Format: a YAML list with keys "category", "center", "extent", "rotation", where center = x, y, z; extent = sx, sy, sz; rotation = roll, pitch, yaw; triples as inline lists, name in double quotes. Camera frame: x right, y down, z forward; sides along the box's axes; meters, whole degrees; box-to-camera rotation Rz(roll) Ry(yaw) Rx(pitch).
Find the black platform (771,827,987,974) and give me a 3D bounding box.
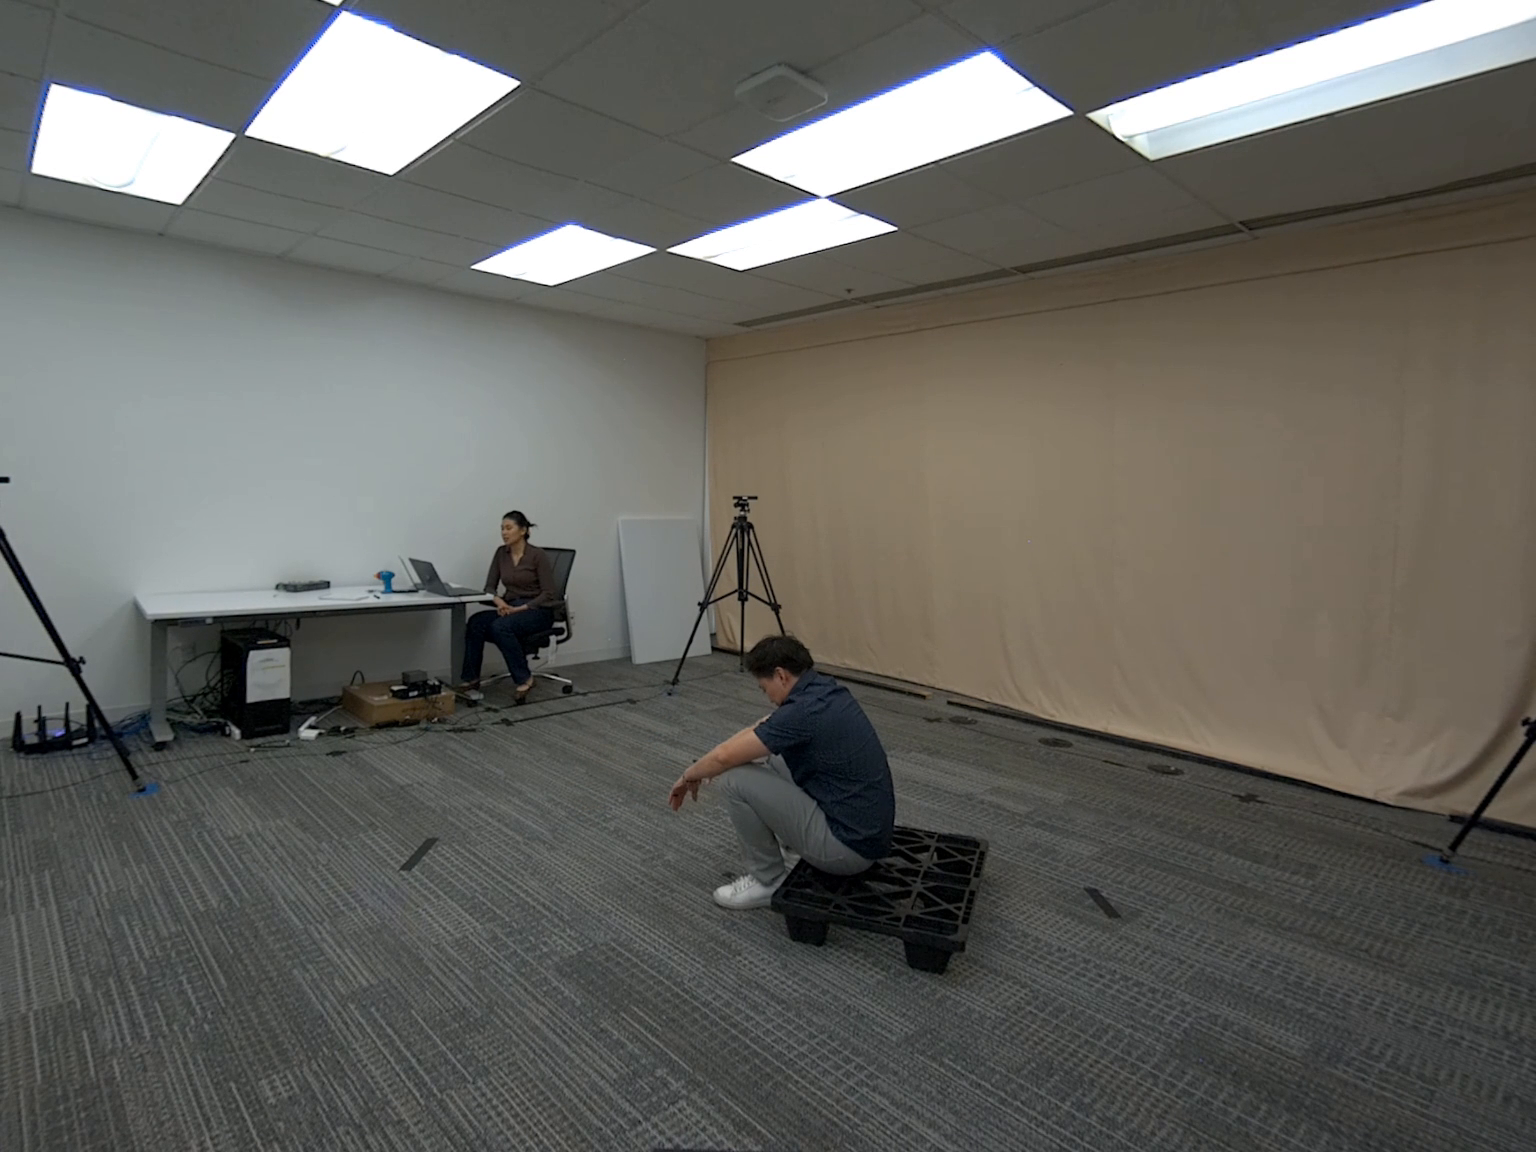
- category: "black platform"
  center: [0.405, 1.069, 2.894]
  extent: [0.615, 0.143, 0.795]
  rotation: [3, 6, 20]
